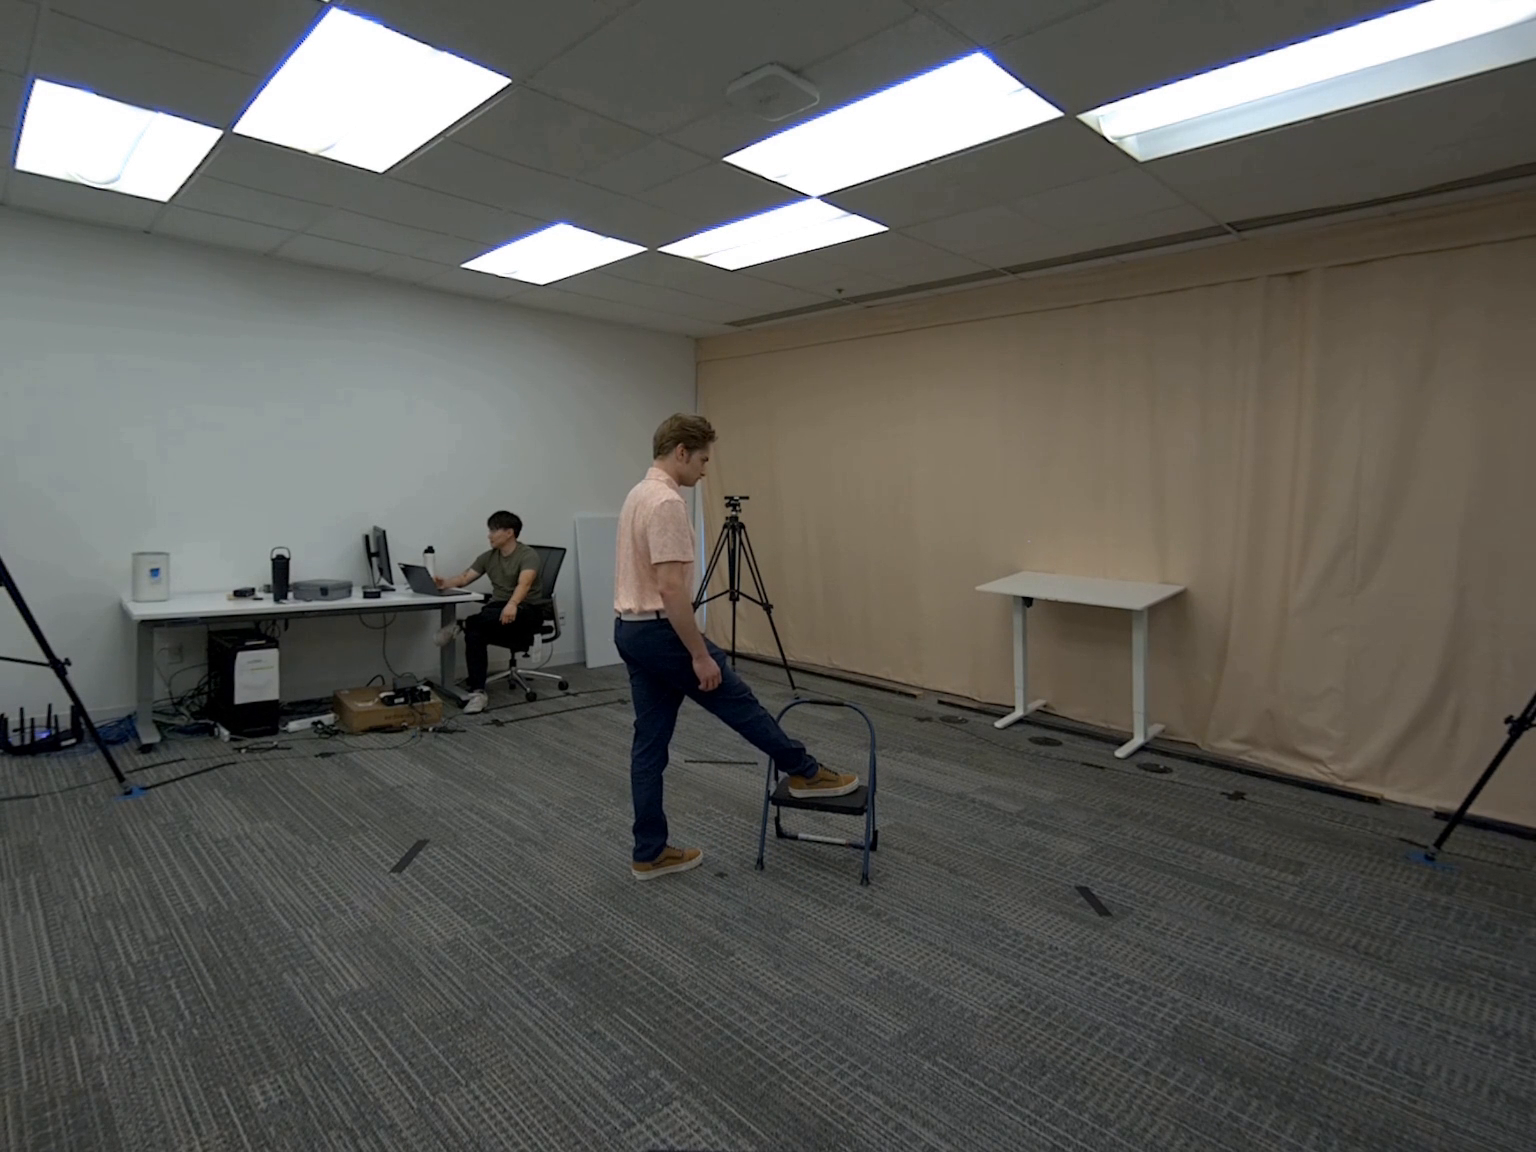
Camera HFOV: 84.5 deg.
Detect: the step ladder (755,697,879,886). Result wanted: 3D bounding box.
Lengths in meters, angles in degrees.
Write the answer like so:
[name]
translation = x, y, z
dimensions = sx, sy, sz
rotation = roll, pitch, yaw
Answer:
[step ladder]
translation = 0.200, 0.798, 3.256
dimensions = 0.436, 0.605, 0.346
rotation = 2, 3, 14
